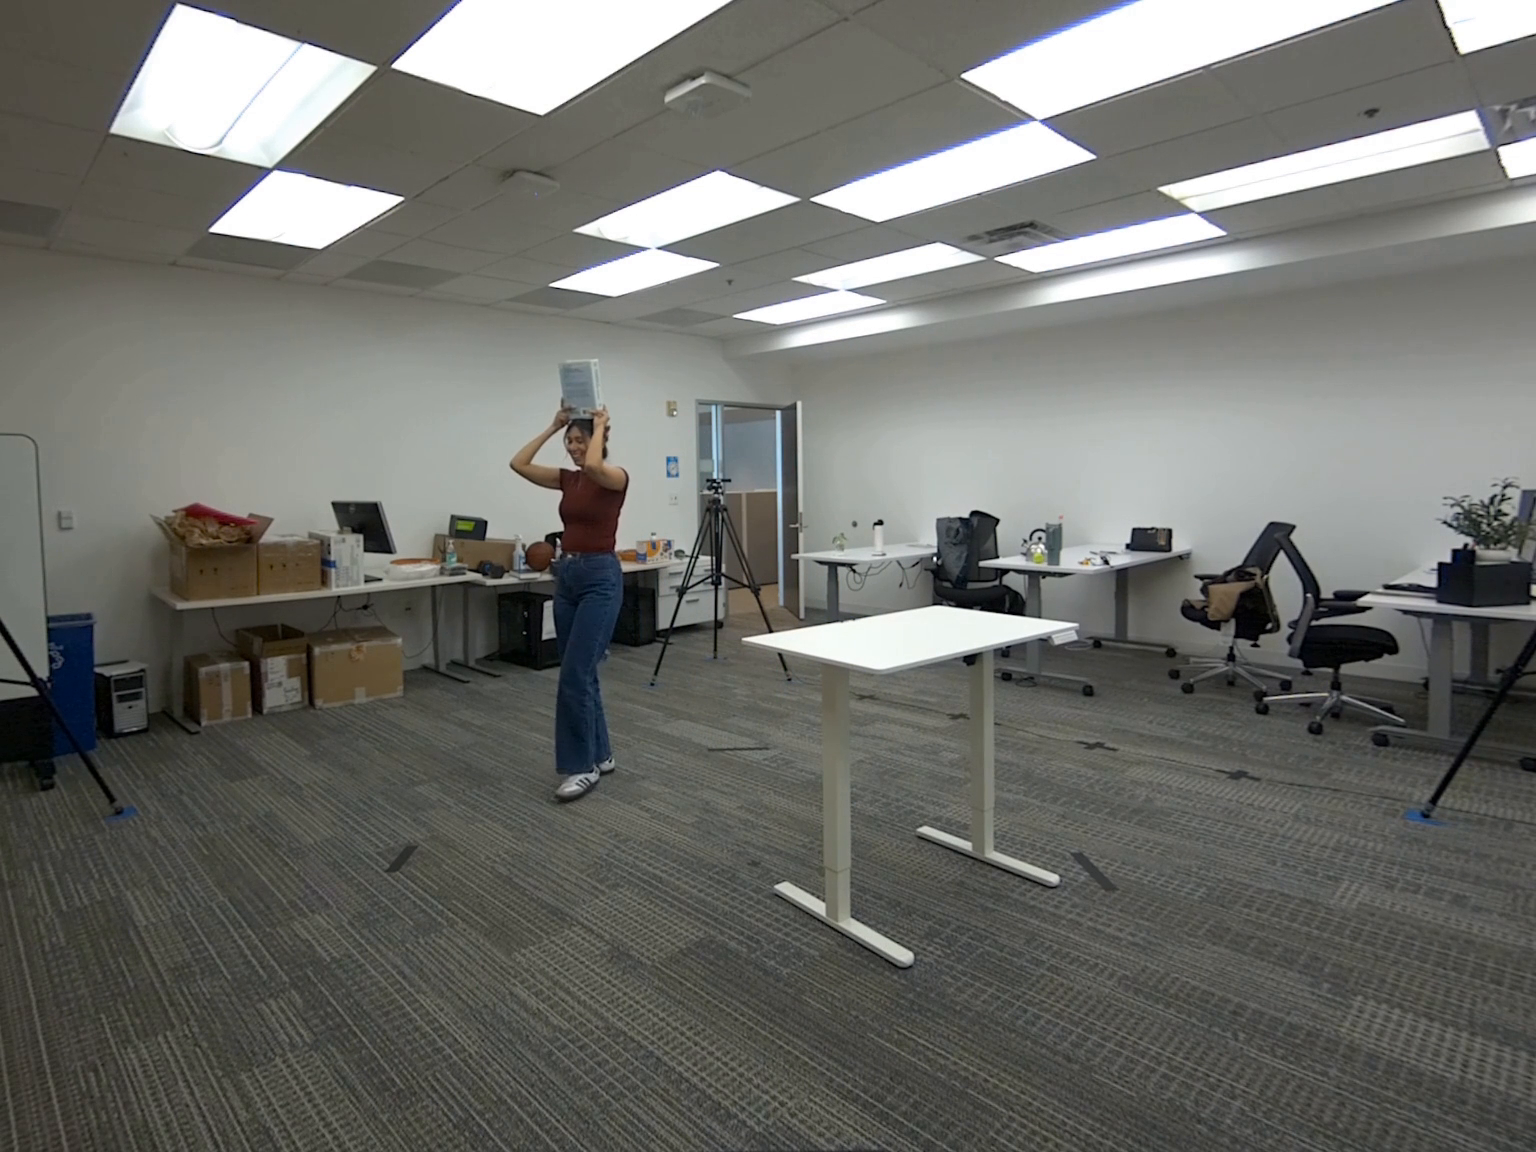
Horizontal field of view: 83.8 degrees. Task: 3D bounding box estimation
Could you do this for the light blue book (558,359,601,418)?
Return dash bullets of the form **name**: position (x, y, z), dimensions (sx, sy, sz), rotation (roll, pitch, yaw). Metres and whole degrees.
- **light blue book**: position (-0.861, -0.859, 3.937), dimensions (0.196, 0.257, 0.058), rotation (4, 17, 26)
